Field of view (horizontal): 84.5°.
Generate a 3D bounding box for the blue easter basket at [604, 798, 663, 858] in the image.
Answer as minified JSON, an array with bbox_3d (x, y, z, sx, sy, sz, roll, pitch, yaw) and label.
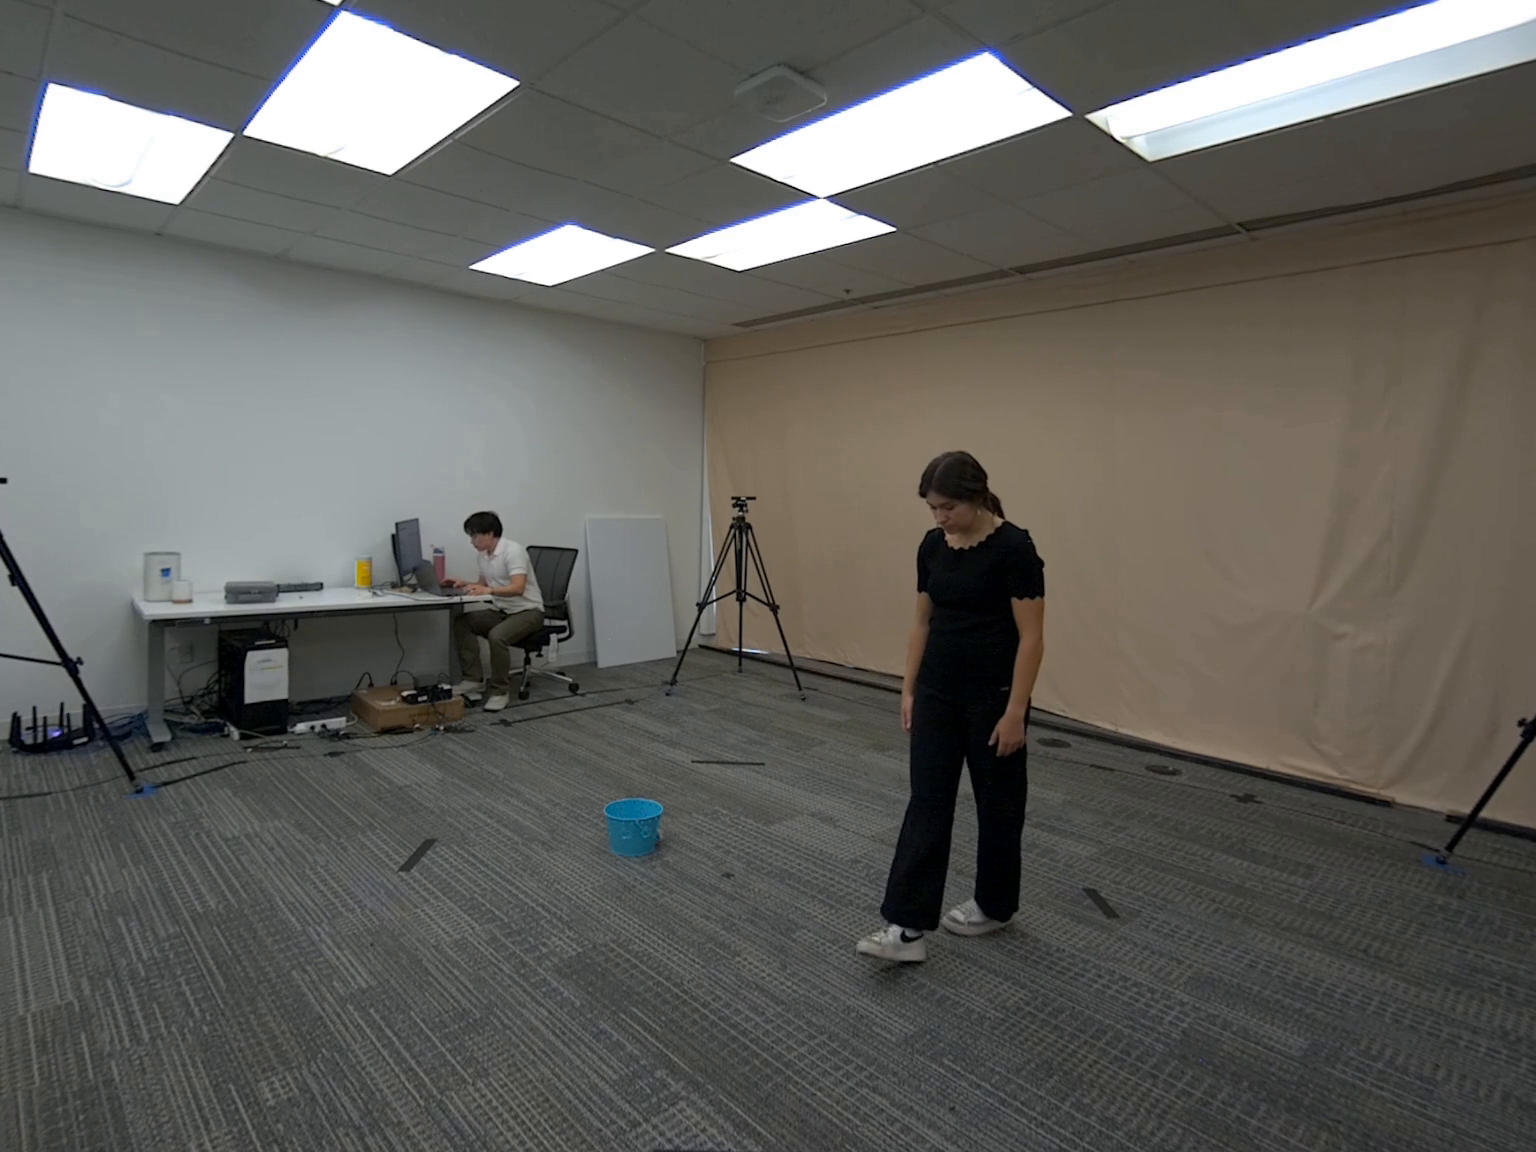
[{"bbox_3d":[-0.539,0.995,3.343,0.243,0.155,0.244,2,4,-1],"label":"blue easter basket"}]
